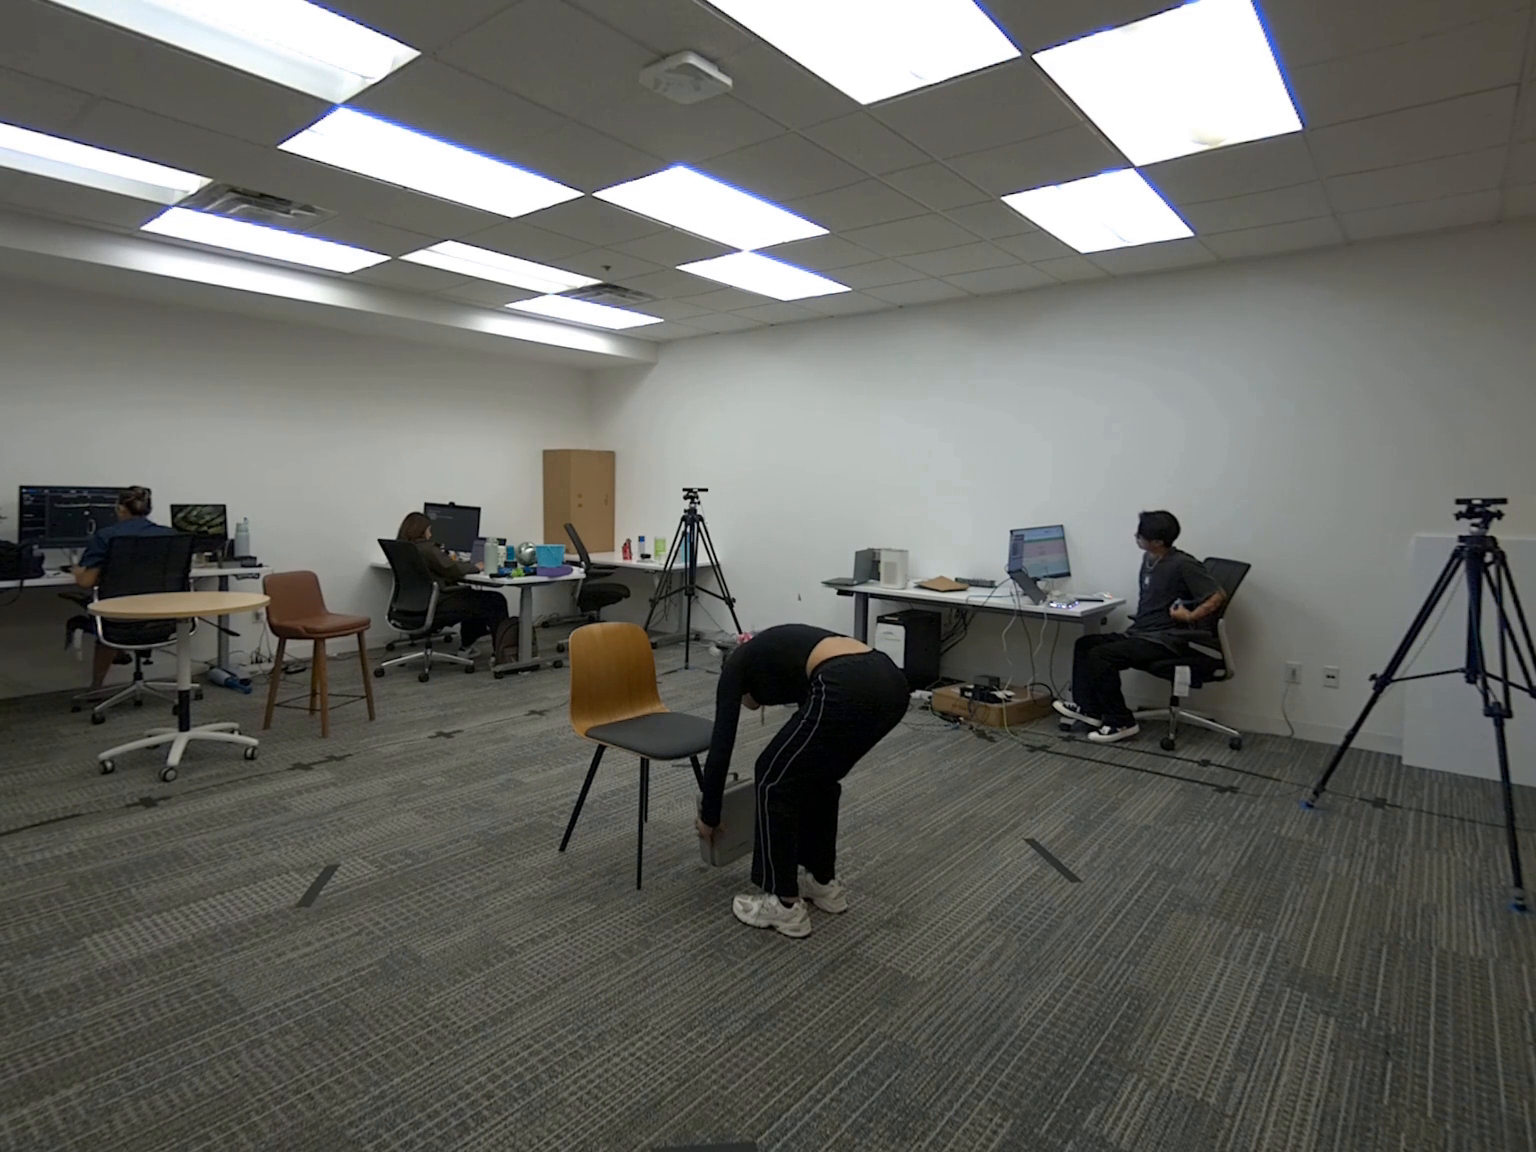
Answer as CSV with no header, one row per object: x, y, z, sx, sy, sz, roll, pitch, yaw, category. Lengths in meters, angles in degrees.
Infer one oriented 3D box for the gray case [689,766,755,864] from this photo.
-0.149,0.849,3.017,0.107,0.261,0.249,-6,-2,41,gray case
